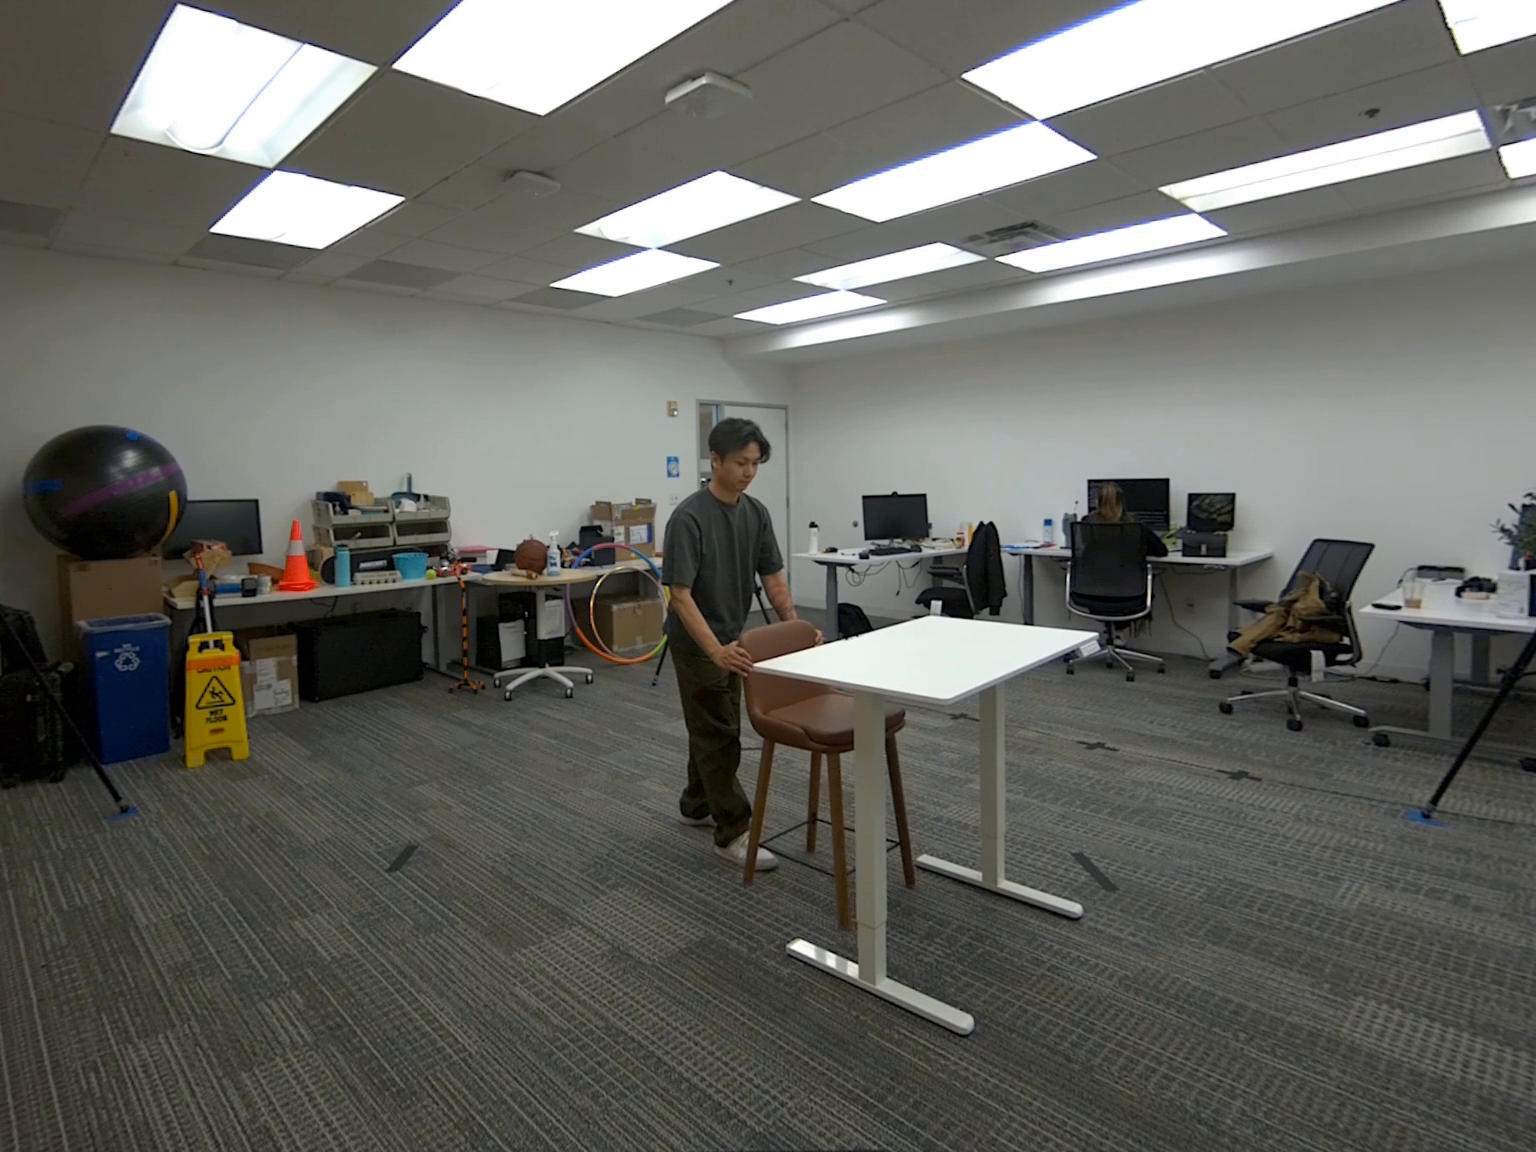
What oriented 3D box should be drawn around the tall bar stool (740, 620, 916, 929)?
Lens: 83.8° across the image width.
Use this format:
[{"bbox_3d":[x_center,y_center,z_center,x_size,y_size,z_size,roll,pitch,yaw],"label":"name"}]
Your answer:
[{"bbox_3d":[0.191,0.619,2.910,0.481,0.888,0.444,-1,3,44],"label":"tall bar stool"}]
